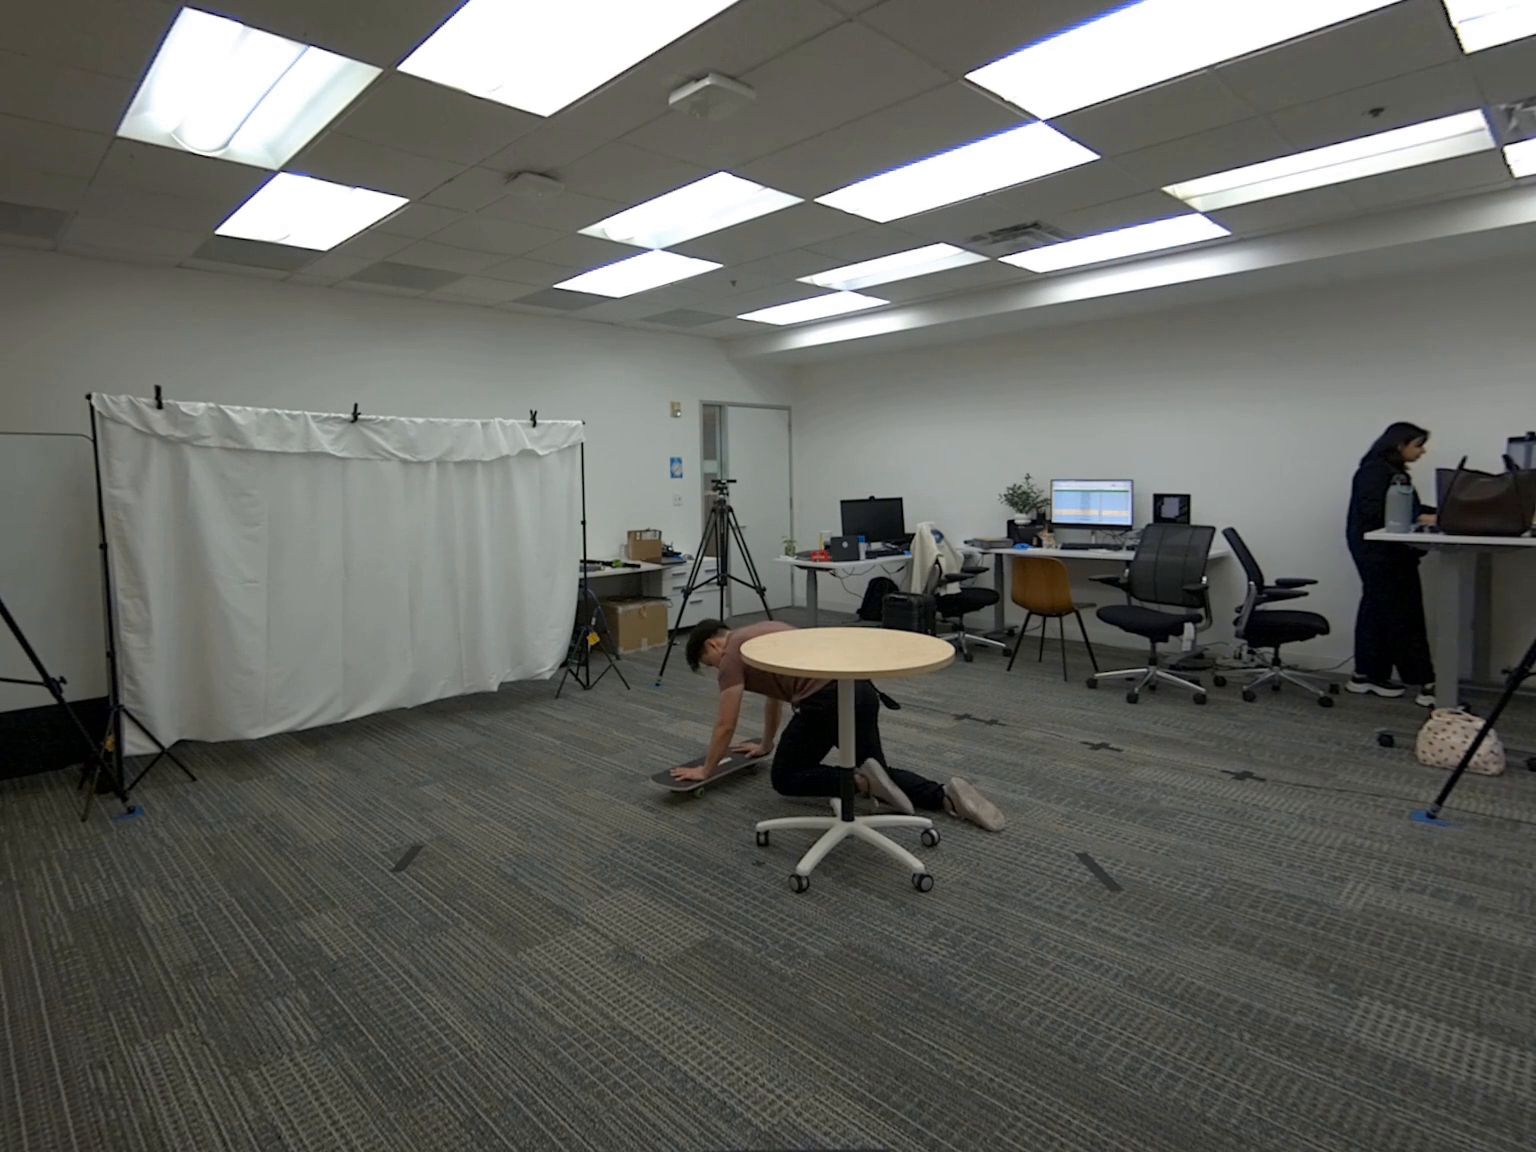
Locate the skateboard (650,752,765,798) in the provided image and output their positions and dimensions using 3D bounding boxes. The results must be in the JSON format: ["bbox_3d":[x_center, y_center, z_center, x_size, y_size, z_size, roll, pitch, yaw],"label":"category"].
[{"bbox_3d":[-0.245,0.900,3.965,0.200,0.109,0.765,8,10,38],"label":"skateboard"}]
